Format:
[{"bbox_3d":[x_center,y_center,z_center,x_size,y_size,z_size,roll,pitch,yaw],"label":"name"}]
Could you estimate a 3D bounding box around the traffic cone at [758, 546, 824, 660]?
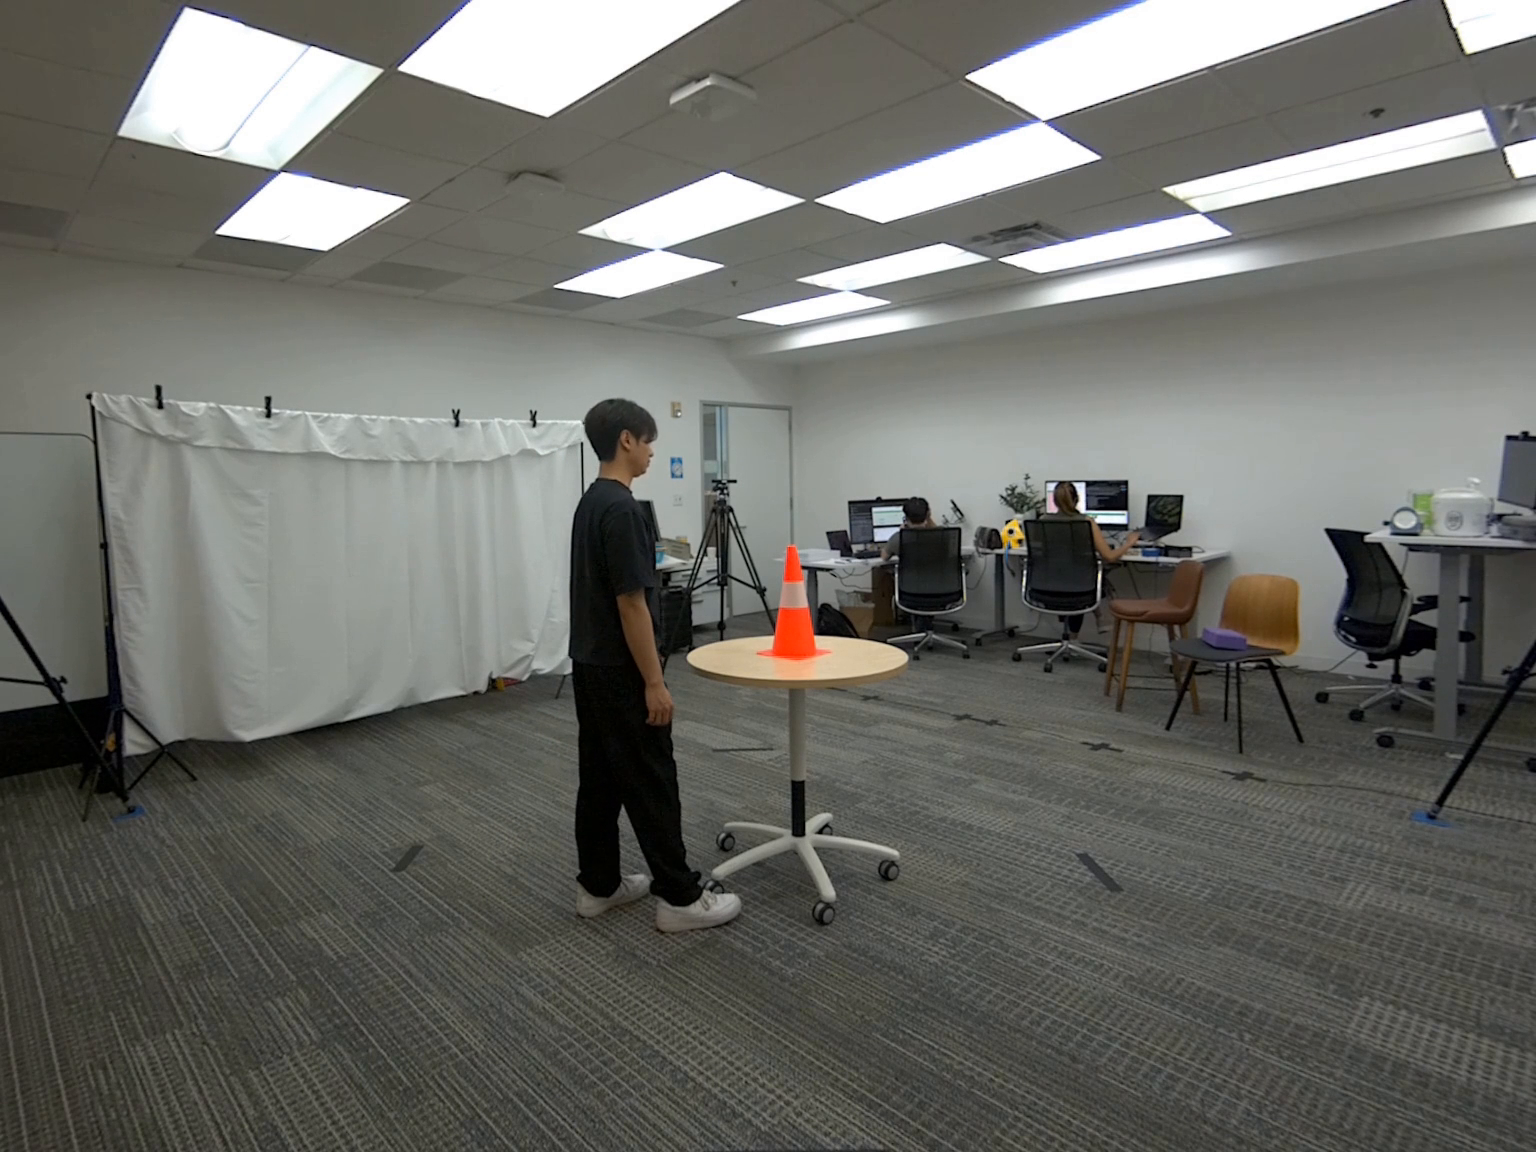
[{"bbox_3d":[0.085,0.087,3.011,0.208,0.382,0.200,-1,5,31],"label":"traffic cone"}]
